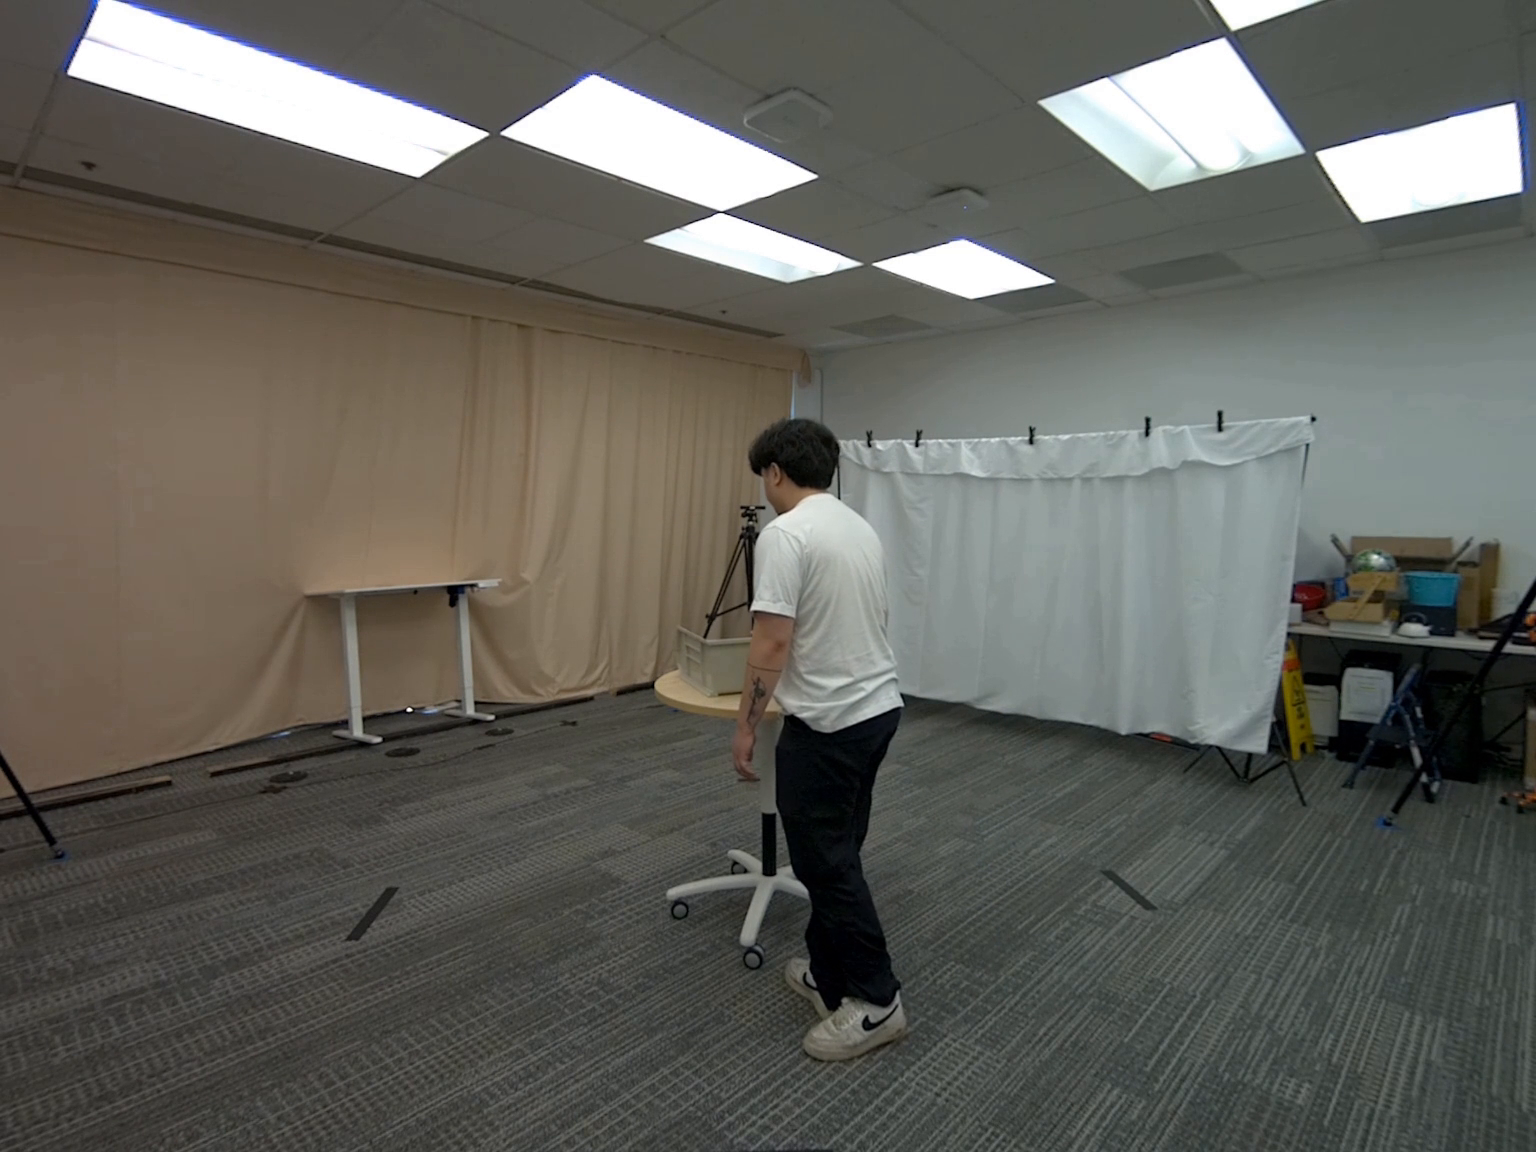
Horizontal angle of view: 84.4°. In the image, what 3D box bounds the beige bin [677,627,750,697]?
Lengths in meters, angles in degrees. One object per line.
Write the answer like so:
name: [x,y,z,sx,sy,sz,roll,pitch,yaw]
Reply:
beige bin: [-0.065,0.269,2.853,0.414,0.188,0.386,-2,6,-20]
